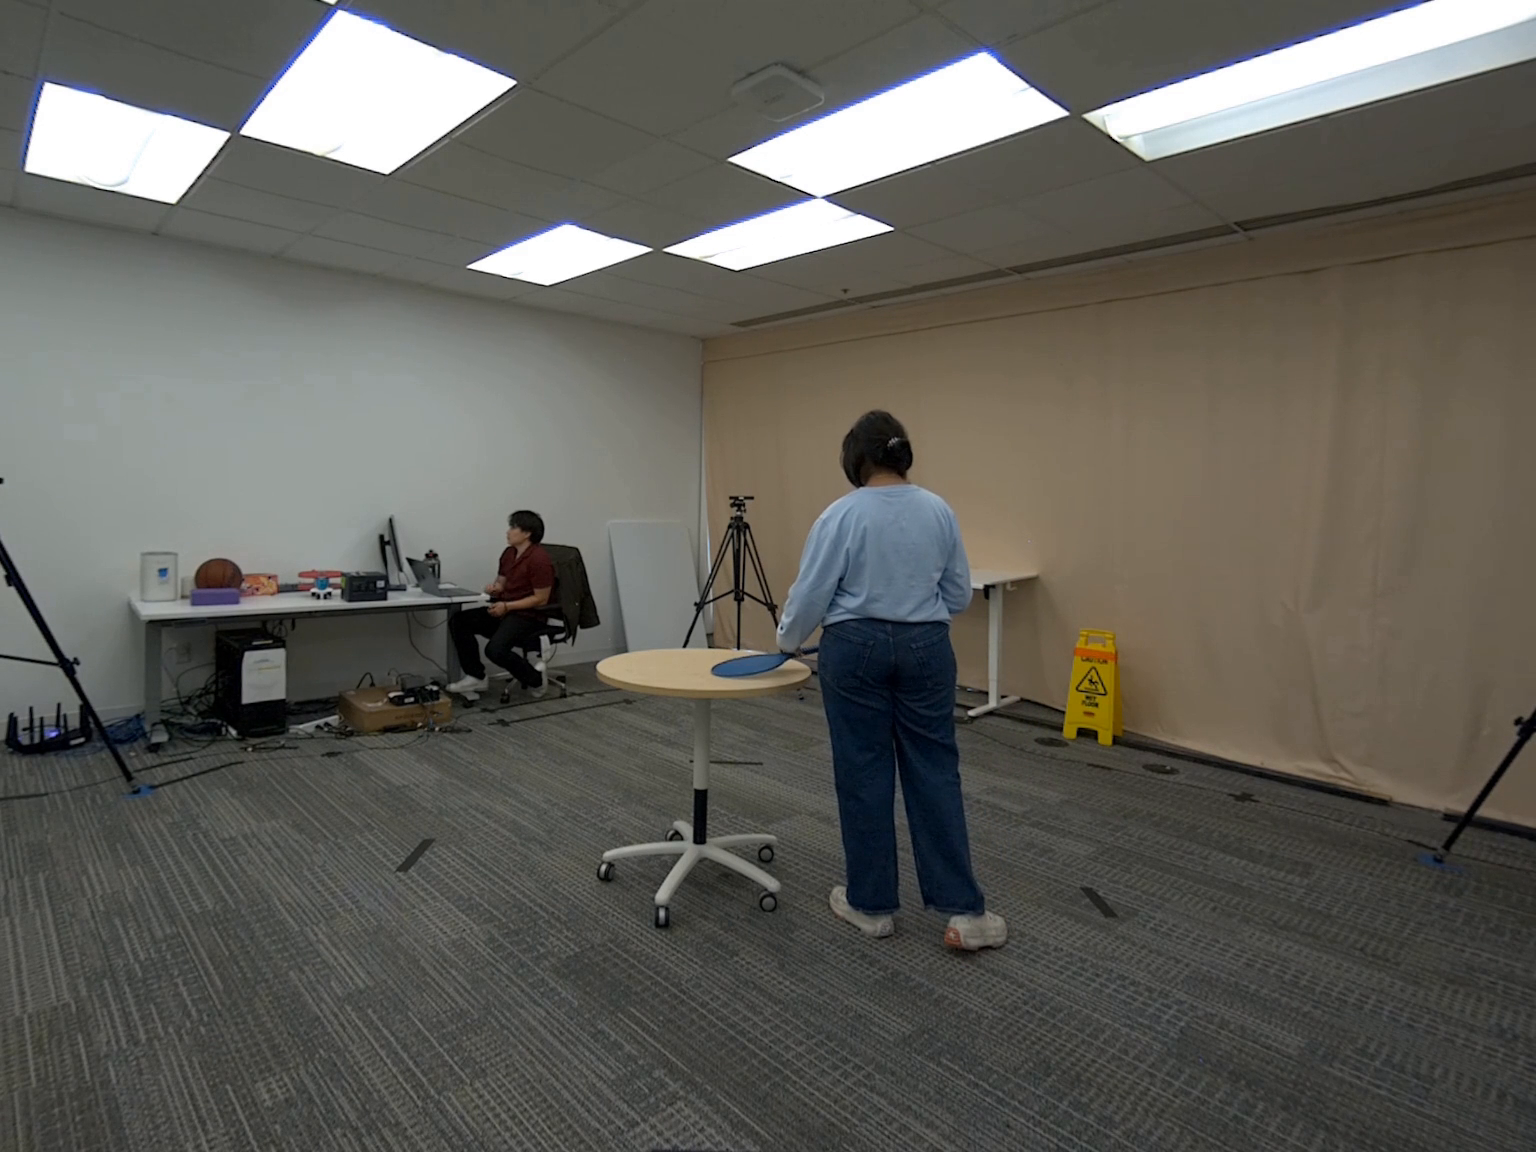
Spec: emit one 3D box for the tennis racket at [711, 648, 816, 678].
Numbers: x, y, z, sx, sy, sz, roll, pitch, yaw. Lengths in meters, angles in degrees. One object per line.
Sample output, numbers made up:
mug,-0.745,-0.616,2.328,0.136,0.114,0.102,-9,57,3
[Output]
tennis racket,0.004,0.298,2.956,0.427,0.031,0.218,-11,10,-22
